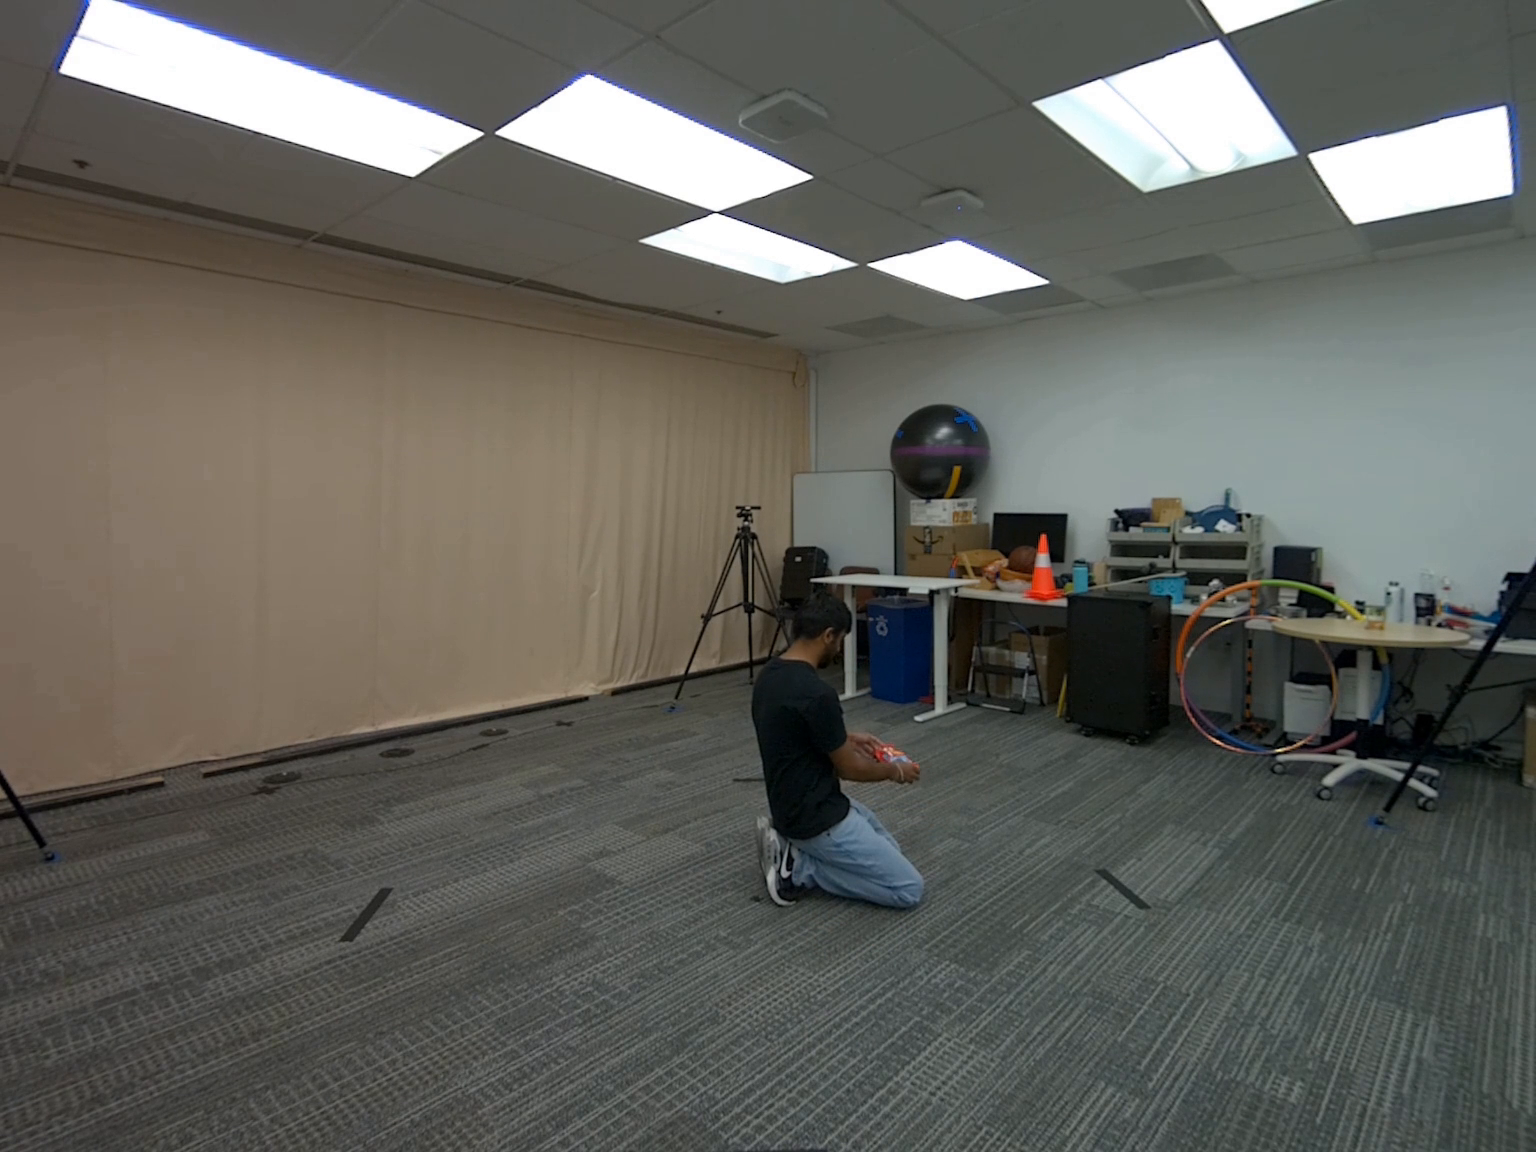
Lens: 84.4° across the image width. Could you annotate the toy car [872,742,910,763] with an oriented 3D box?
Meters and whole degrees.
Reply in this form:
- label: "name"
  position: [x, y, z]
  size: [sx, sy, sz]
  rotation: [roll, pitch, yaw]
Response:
- label: "toy car"
  position: [0.502, 0.741, 3.335]
  size: [0.129, 0.082, 0.260]
  rotation: [0, 15, -13]
